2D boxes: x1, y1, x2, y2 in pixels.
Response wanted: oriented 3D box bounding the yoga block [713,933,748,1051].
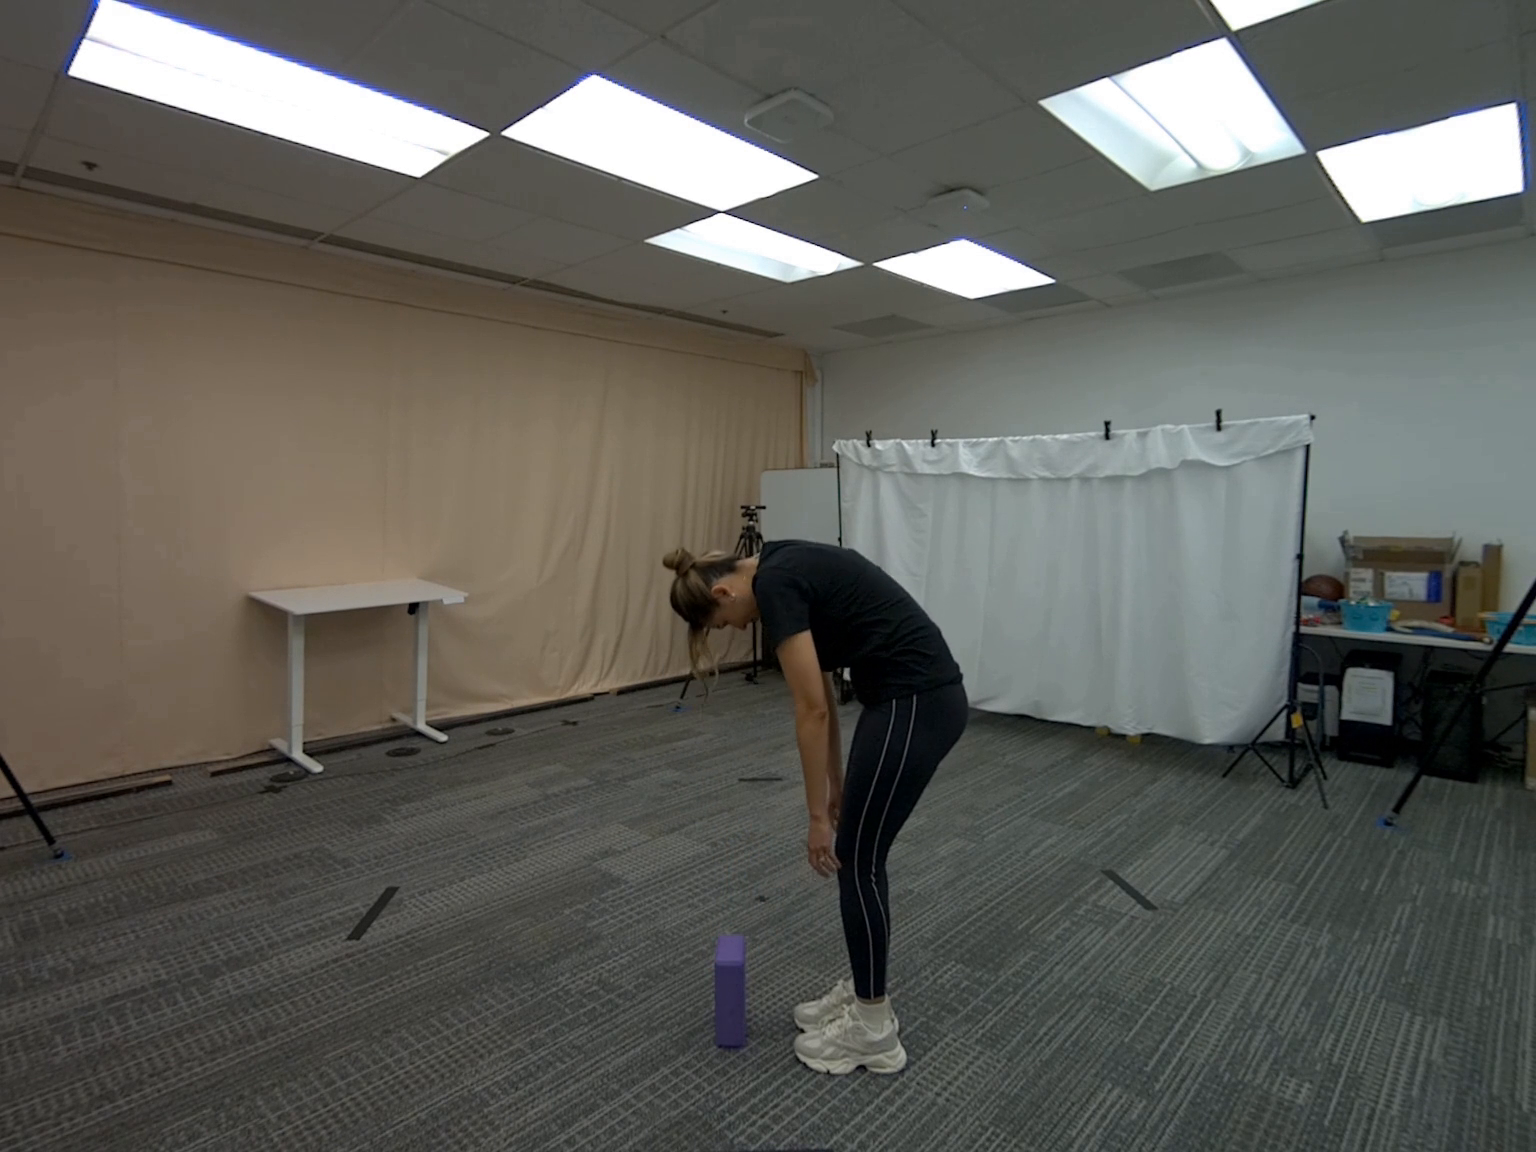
[{"bbox_3d":[-0.098,1.094,2.223,0.076,0.229,0.149,1,2,-1],"label":"yoga block"}]
